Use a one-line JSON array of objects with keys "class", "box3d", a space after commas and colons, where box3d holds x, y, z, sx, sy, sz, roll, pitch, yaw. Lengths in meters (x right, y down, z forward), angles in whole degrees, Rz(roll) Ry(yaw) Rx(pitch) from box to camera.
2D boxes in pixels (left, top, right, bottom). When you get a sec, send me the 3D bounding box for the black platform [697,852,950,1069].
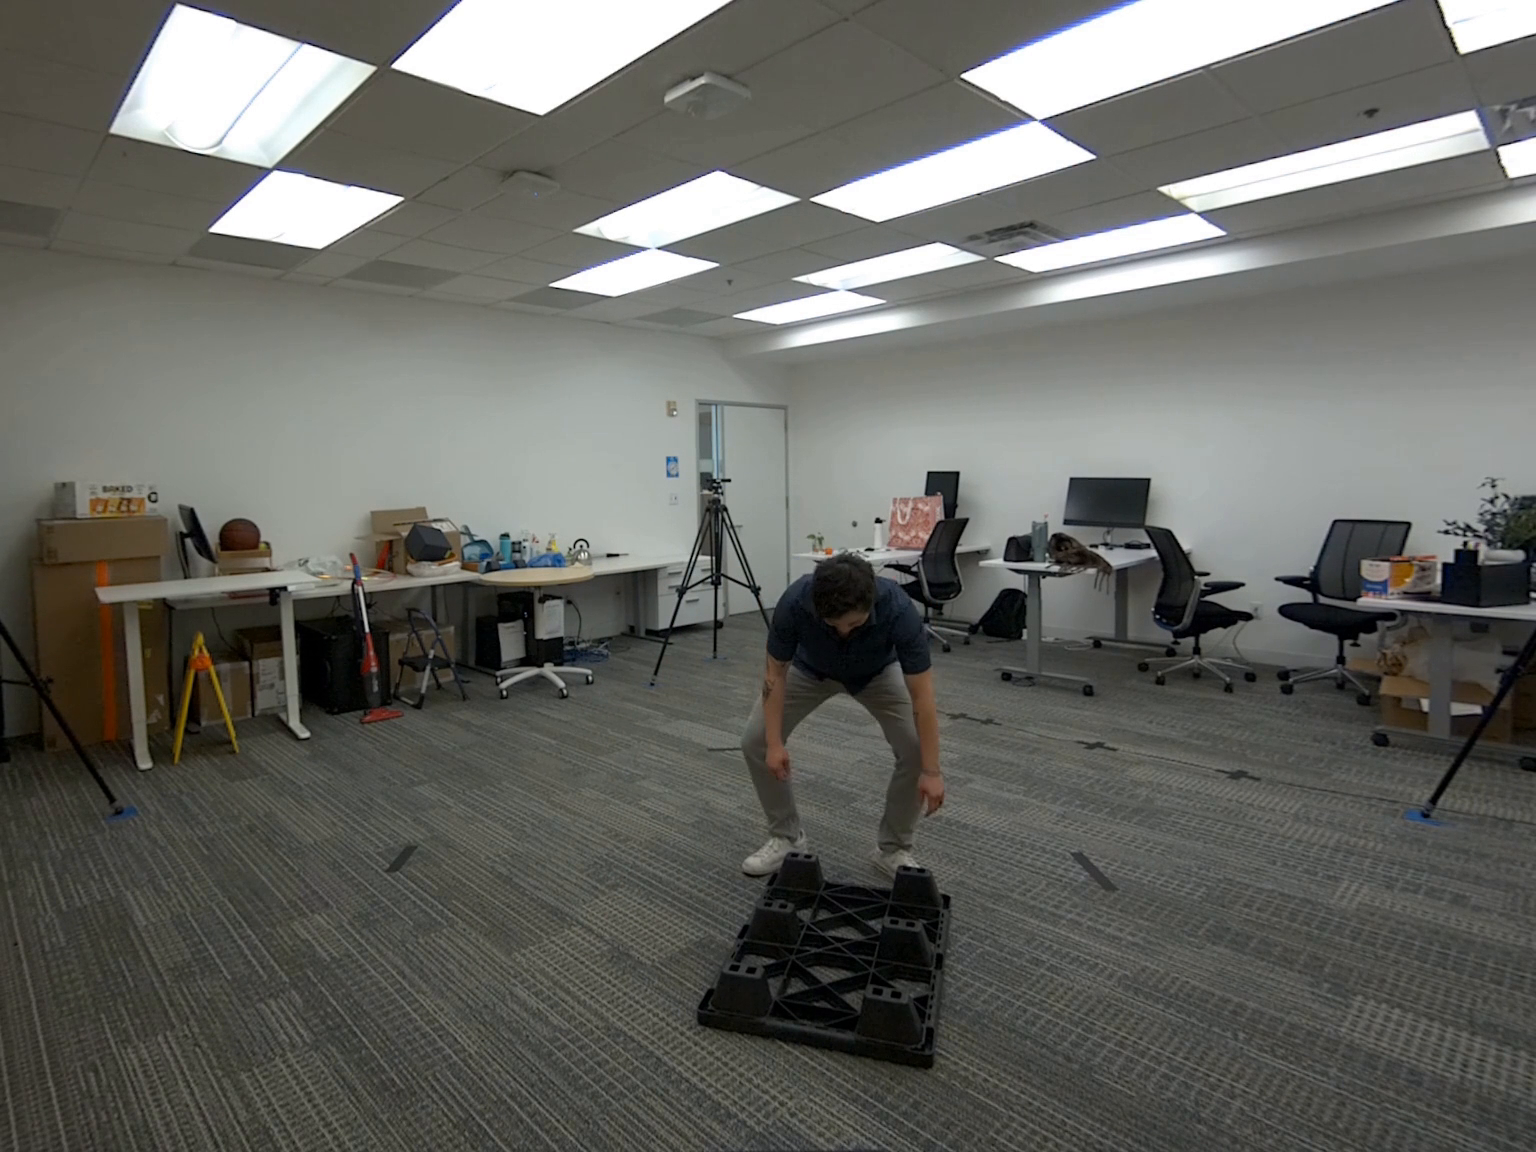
[{"class": "black platform", "box3d": [0.212, 1.050, 2.471, 0.615, 0.142, 0.796, 1, 7, 16]}]
